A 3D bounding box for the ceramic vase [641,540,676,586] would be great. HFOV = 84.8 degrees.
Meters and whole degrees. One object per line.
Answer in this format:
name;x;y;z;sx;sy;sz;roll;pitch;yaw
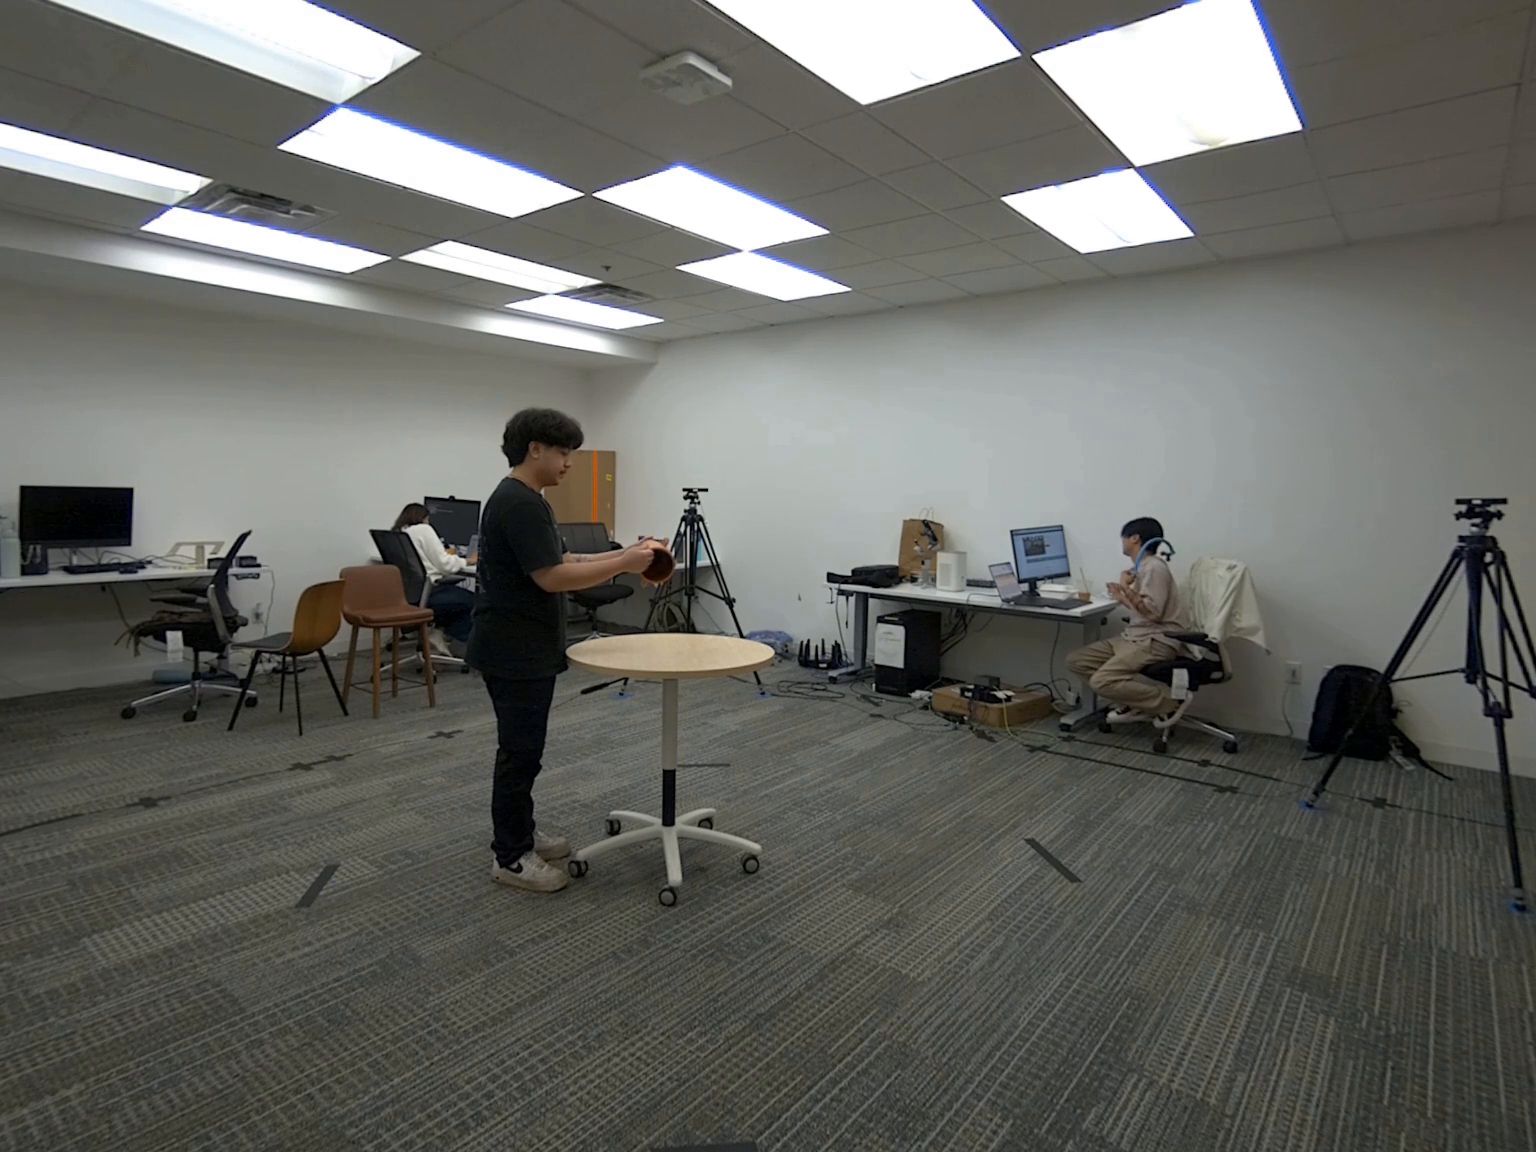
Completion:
ceramic vase;-0.428;-0.067;3.096;0.158;0.132;0.225;-24;17;-7
